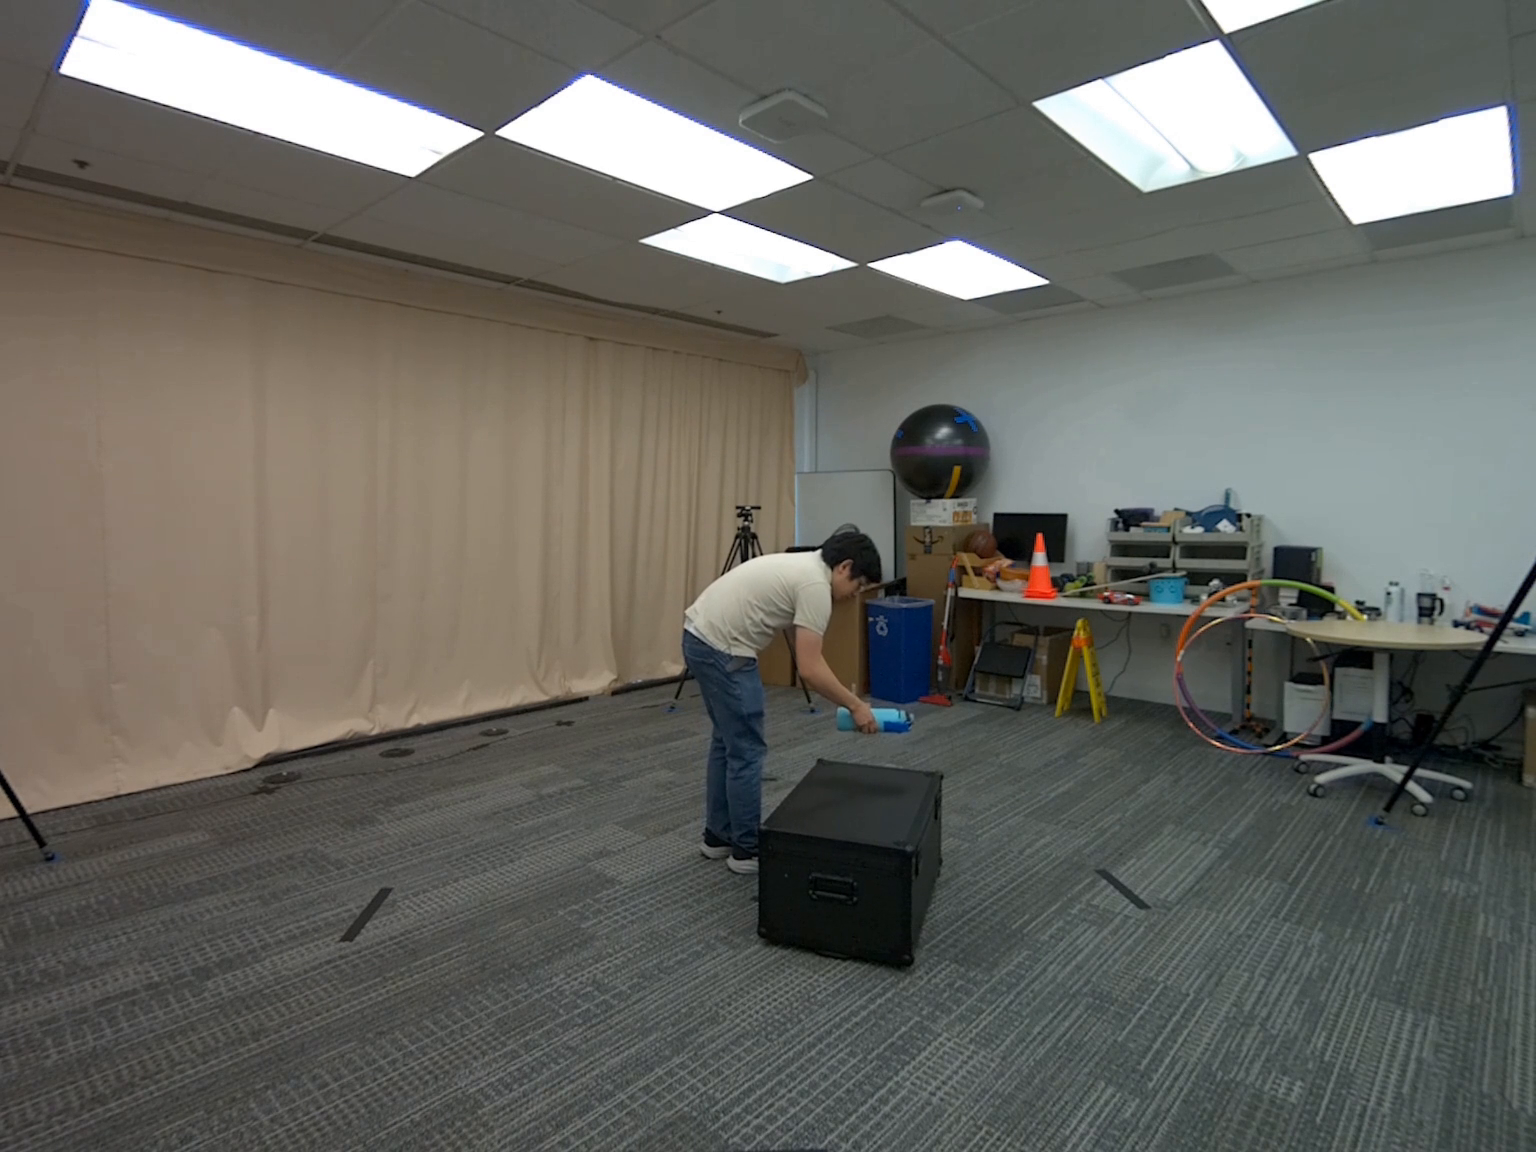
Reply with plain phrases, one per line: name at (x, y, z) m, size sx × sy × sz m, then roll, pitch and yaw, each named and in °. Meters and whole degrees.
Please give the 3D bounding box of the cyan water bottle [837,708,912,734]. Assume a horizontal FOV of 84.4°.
cyan water bottle at (0.416, 0.551, 3.191) m, size 0.287 × 0.092 × 0.091 m, roll -1°, pitch 4°, yaw 13°
